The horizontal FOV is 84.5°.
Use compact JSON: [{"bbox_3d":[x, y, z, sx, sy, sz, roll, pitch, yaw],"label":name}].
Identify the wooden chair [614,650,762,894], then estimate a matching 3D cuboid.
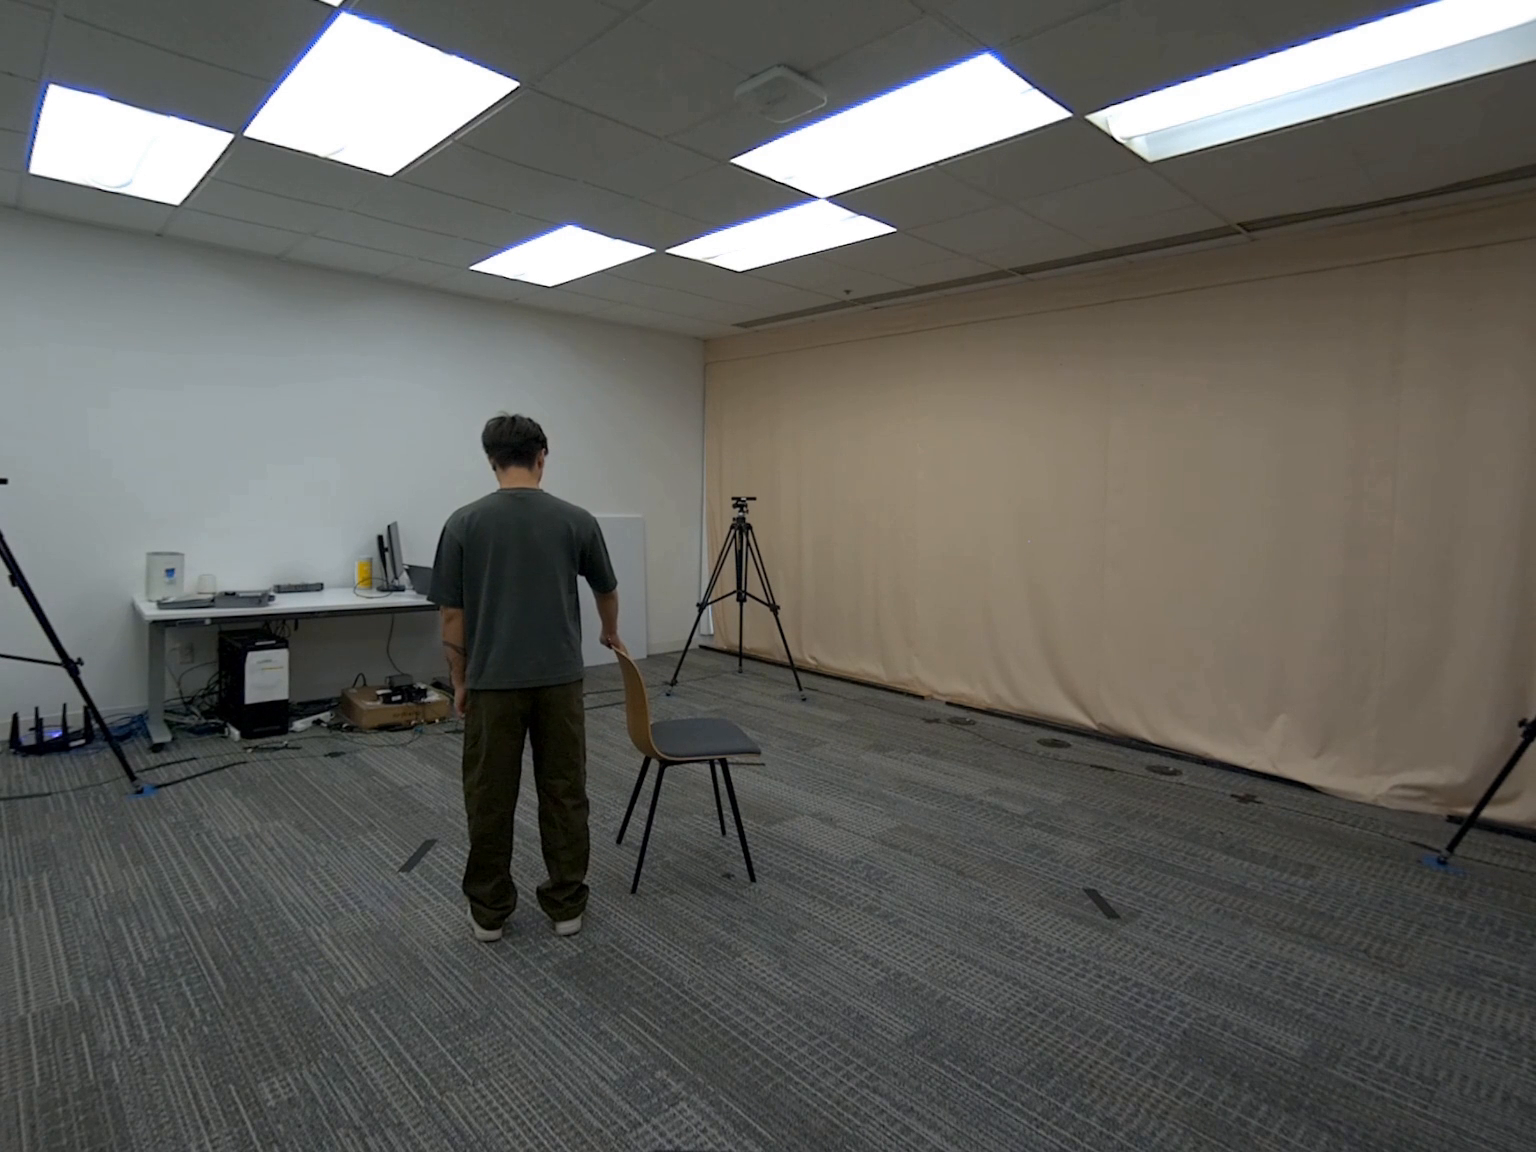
[{"bbox_3d":[-0.314,0.669,3.186,0.517,0.875,0.485,-4,4,-16],"label":"wooden chair"}]
